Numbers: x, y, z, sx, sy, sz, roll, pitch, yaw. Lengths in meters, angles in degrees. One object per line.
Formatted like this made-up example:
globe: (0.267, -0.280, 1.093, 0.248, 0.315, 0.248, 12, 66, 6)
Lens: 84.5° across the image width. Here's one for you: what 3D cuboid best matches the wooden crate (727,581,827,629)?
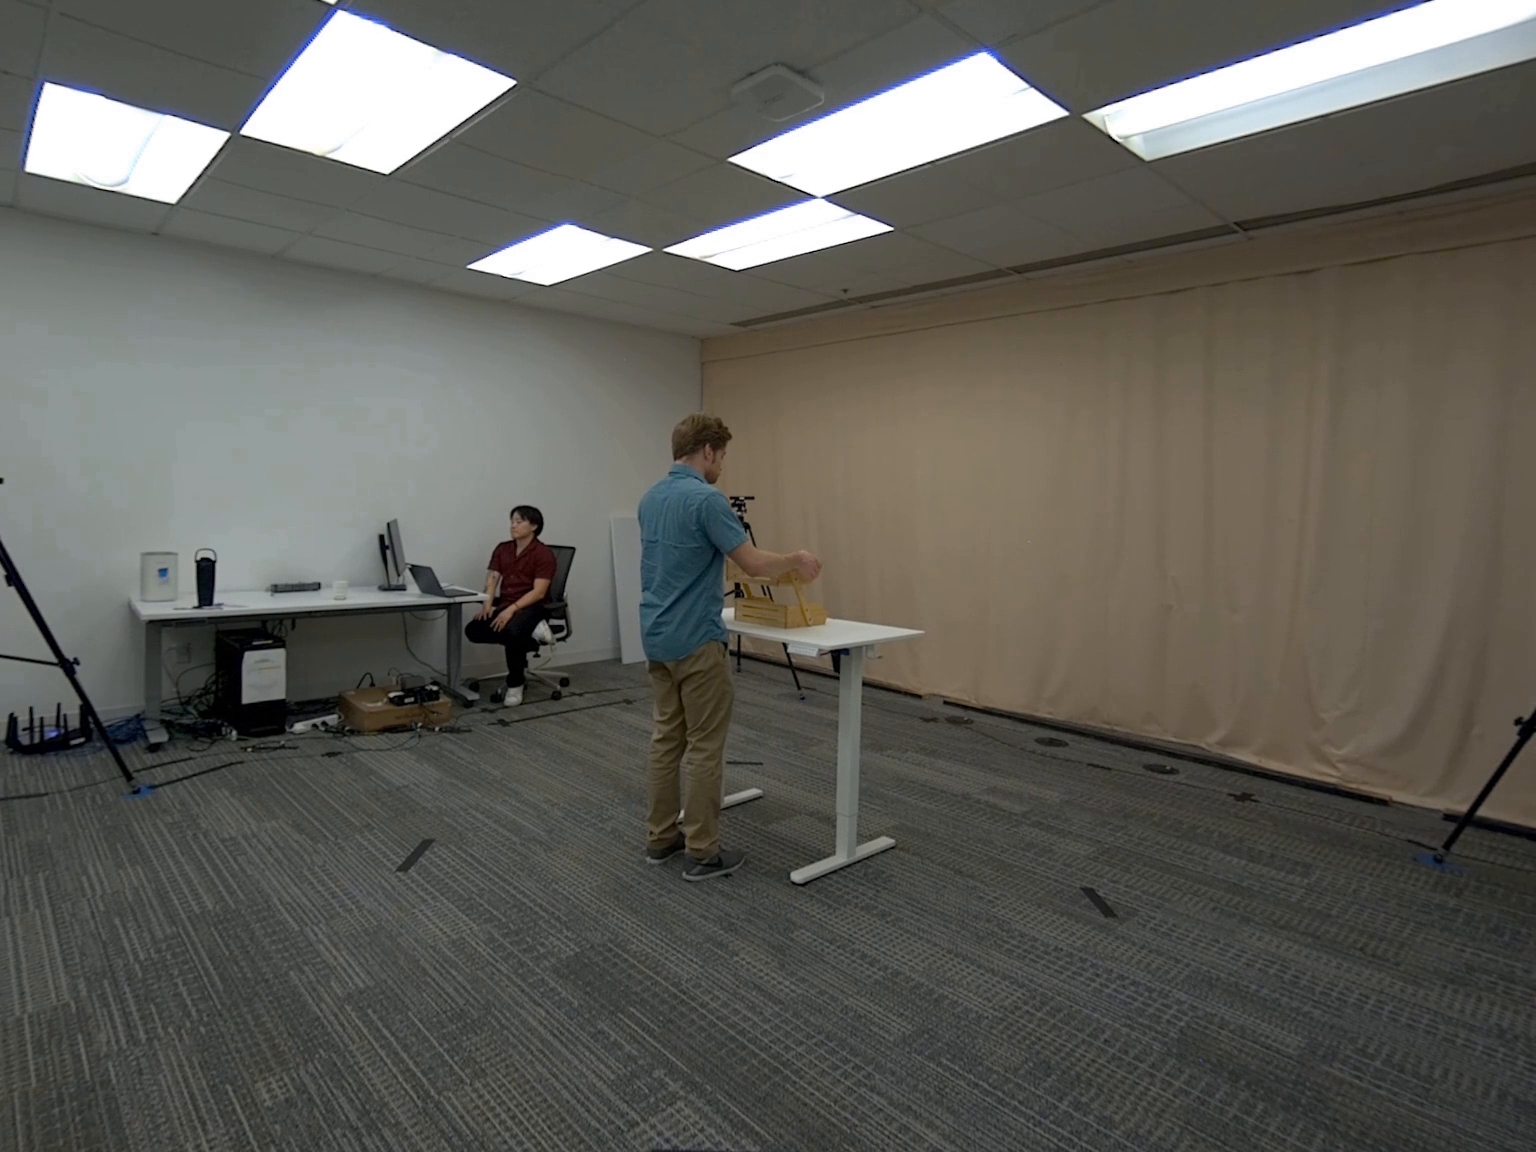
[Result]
wooden crate: (0.031, 0.063, 3.474, 0.295, 0.272, 0.333, -3, 6, -44)
